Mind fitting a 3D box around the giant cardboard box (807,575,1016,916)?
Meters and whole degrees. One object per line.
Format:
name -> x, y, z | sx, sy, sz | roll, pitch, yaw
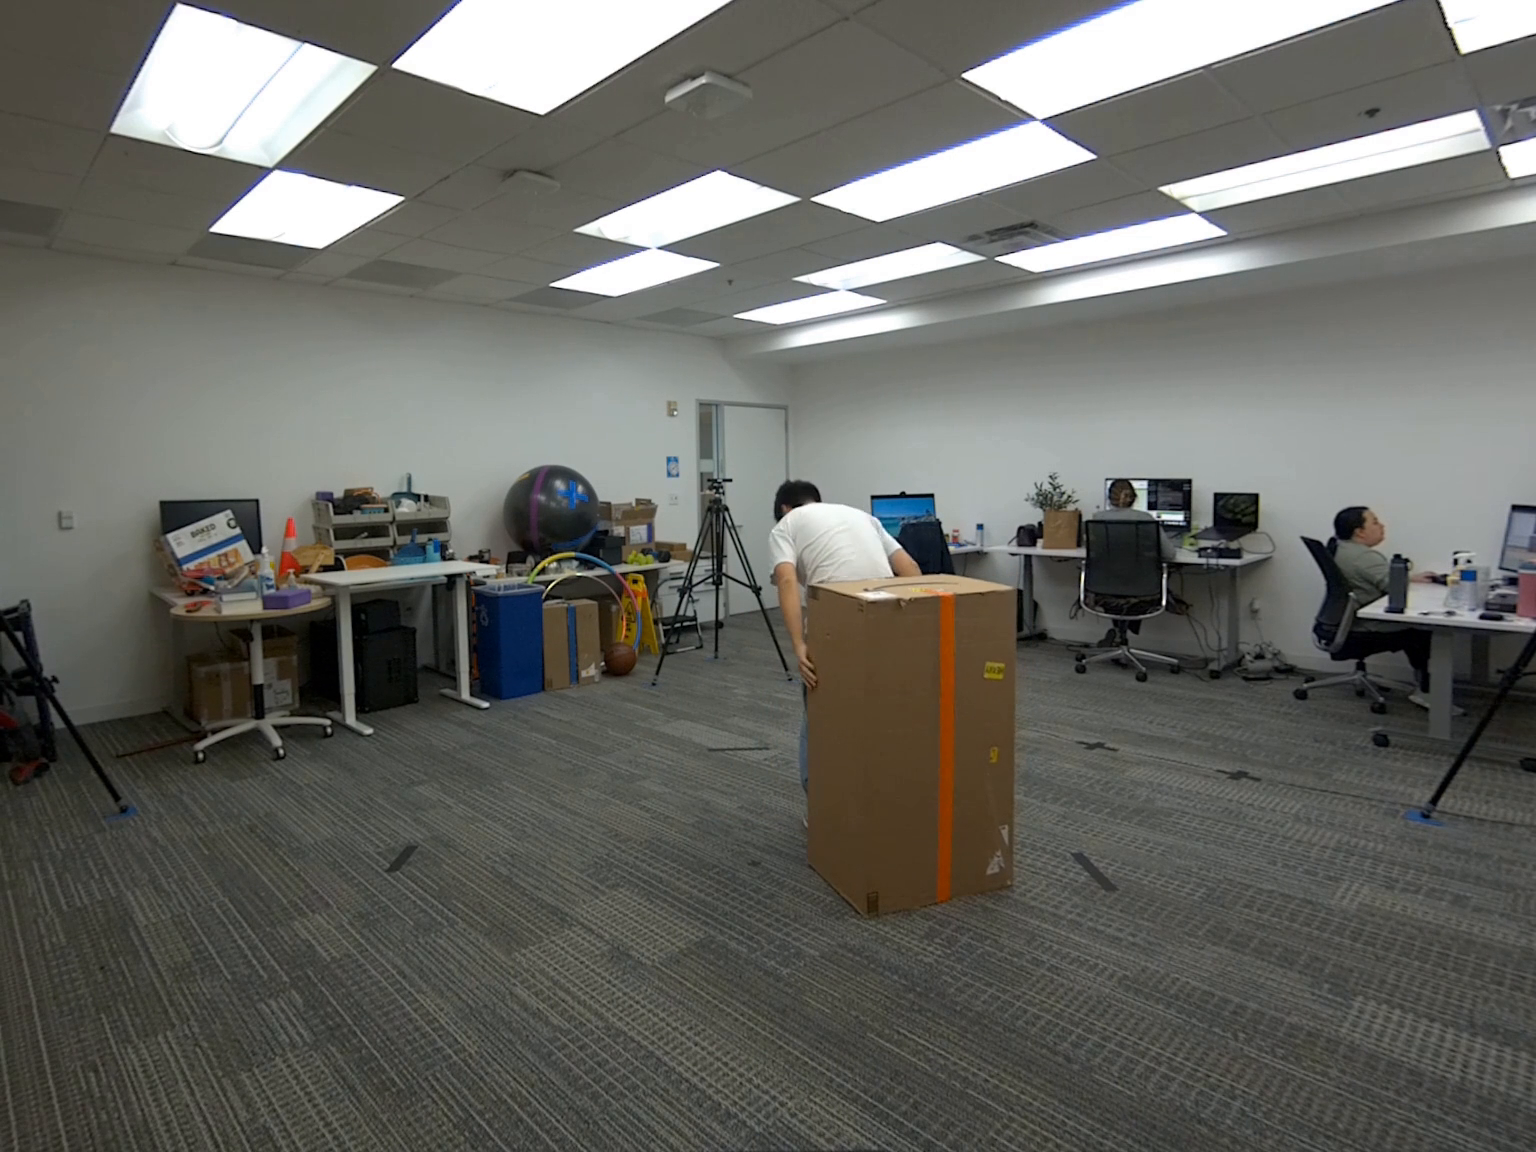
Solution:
giant cardboard box -> 0.485, 0.541, 2.952 | 0.567, 1.022, 0.436 | -3, 4, -22
